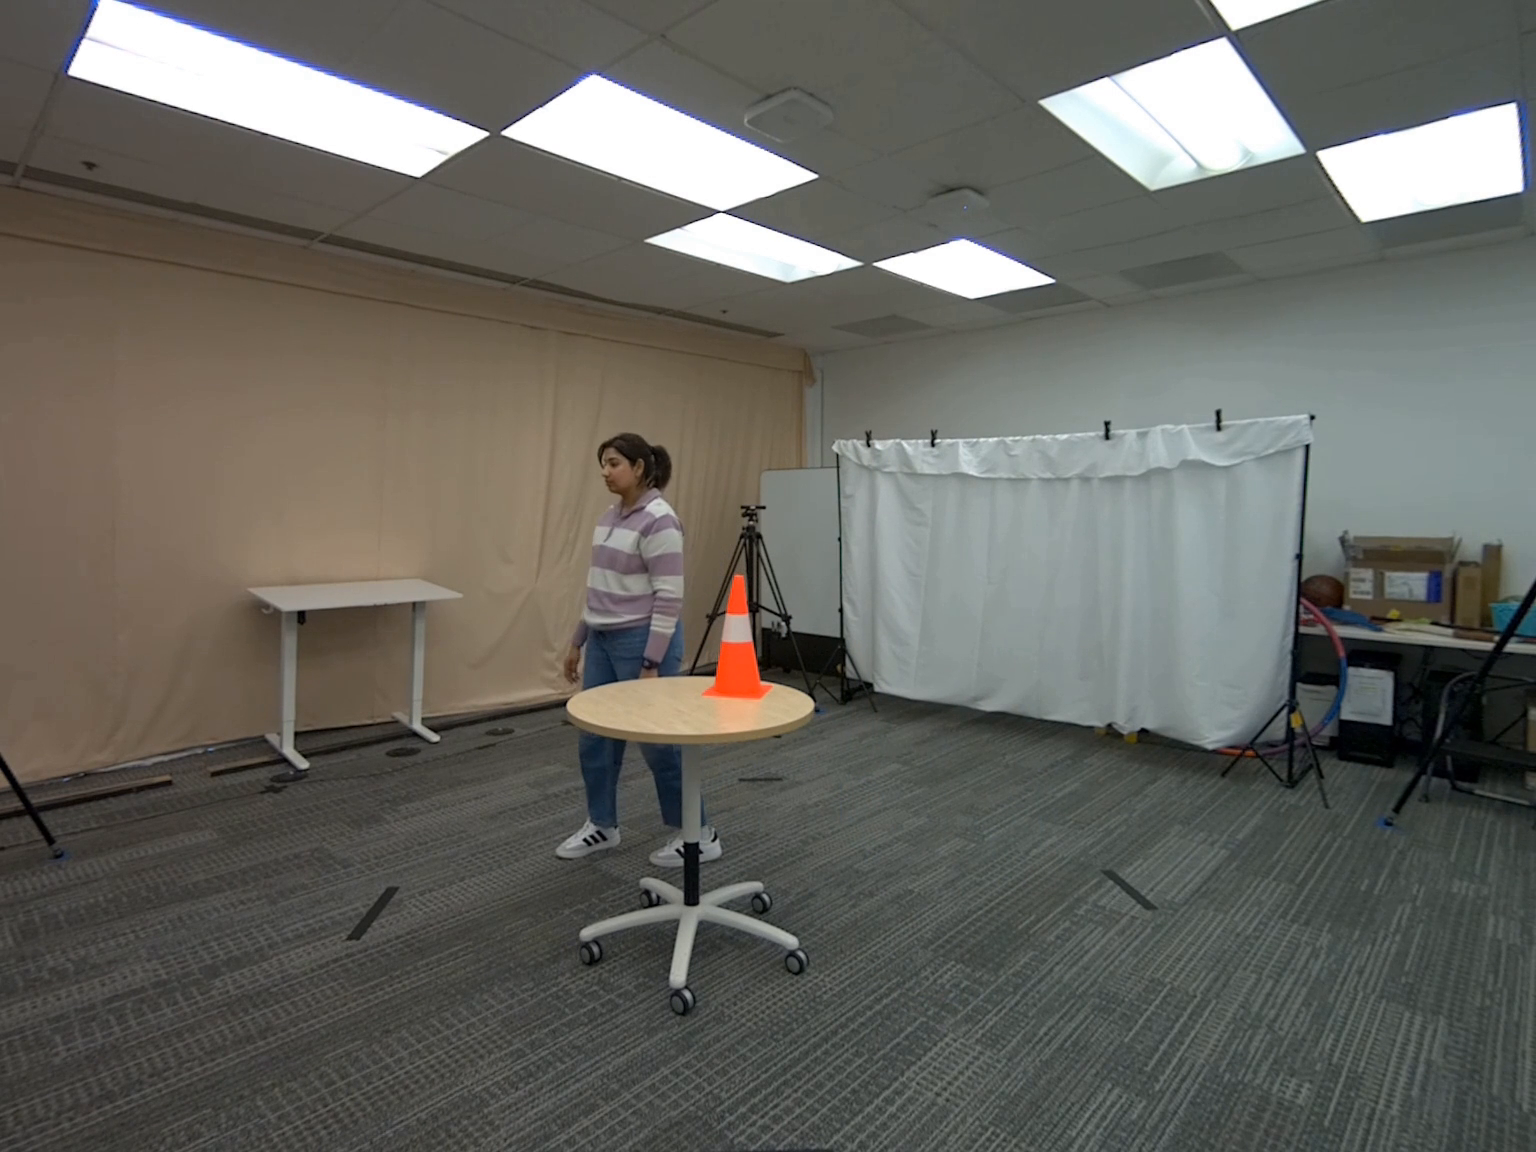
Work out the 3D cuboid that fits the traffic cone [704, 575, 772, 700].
[{"bbox_3d":[-0.094,0.190,2.766,0.209,0.383,0.200,1,3,17],"label":"traffic cone"}]
